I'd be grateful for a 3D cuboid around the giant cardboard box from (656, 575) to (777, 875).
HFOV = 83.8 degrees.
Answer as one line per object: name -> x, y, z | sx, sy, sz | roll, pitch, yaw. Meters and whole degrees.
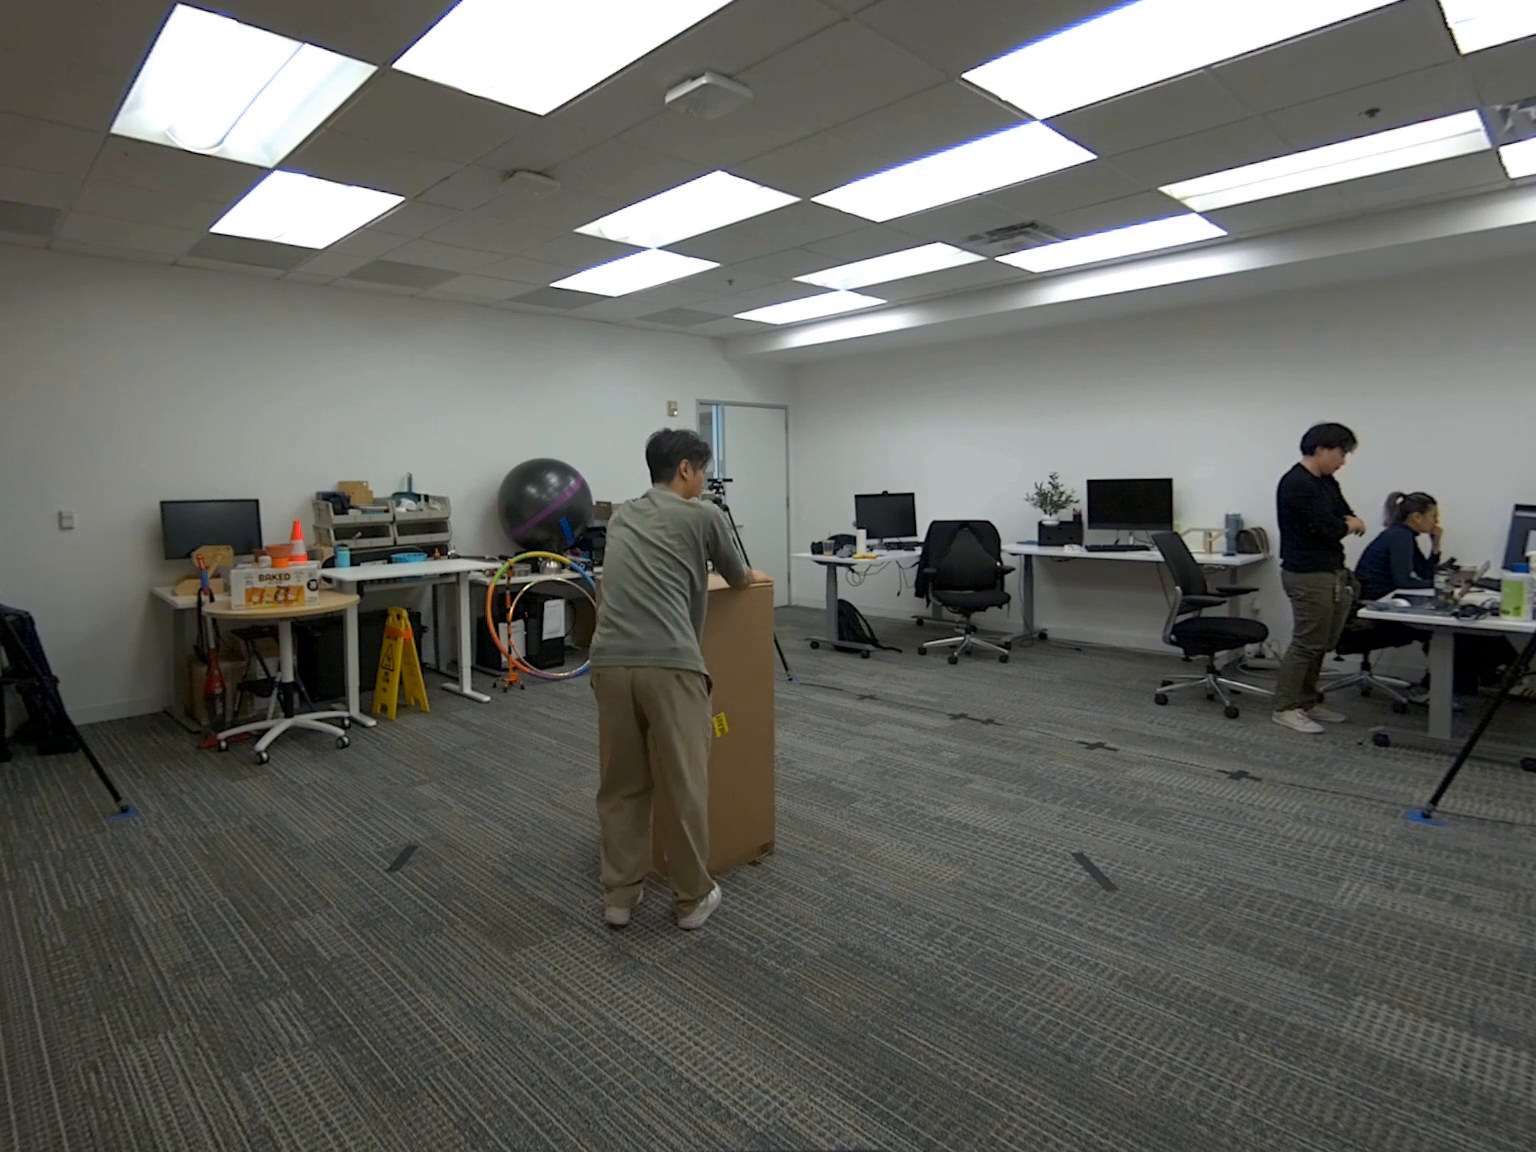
giant cardboard box -> -0.320, 0.518, 3.234 | 0.415, 1.020, 0.596 | -6, 8, -39
